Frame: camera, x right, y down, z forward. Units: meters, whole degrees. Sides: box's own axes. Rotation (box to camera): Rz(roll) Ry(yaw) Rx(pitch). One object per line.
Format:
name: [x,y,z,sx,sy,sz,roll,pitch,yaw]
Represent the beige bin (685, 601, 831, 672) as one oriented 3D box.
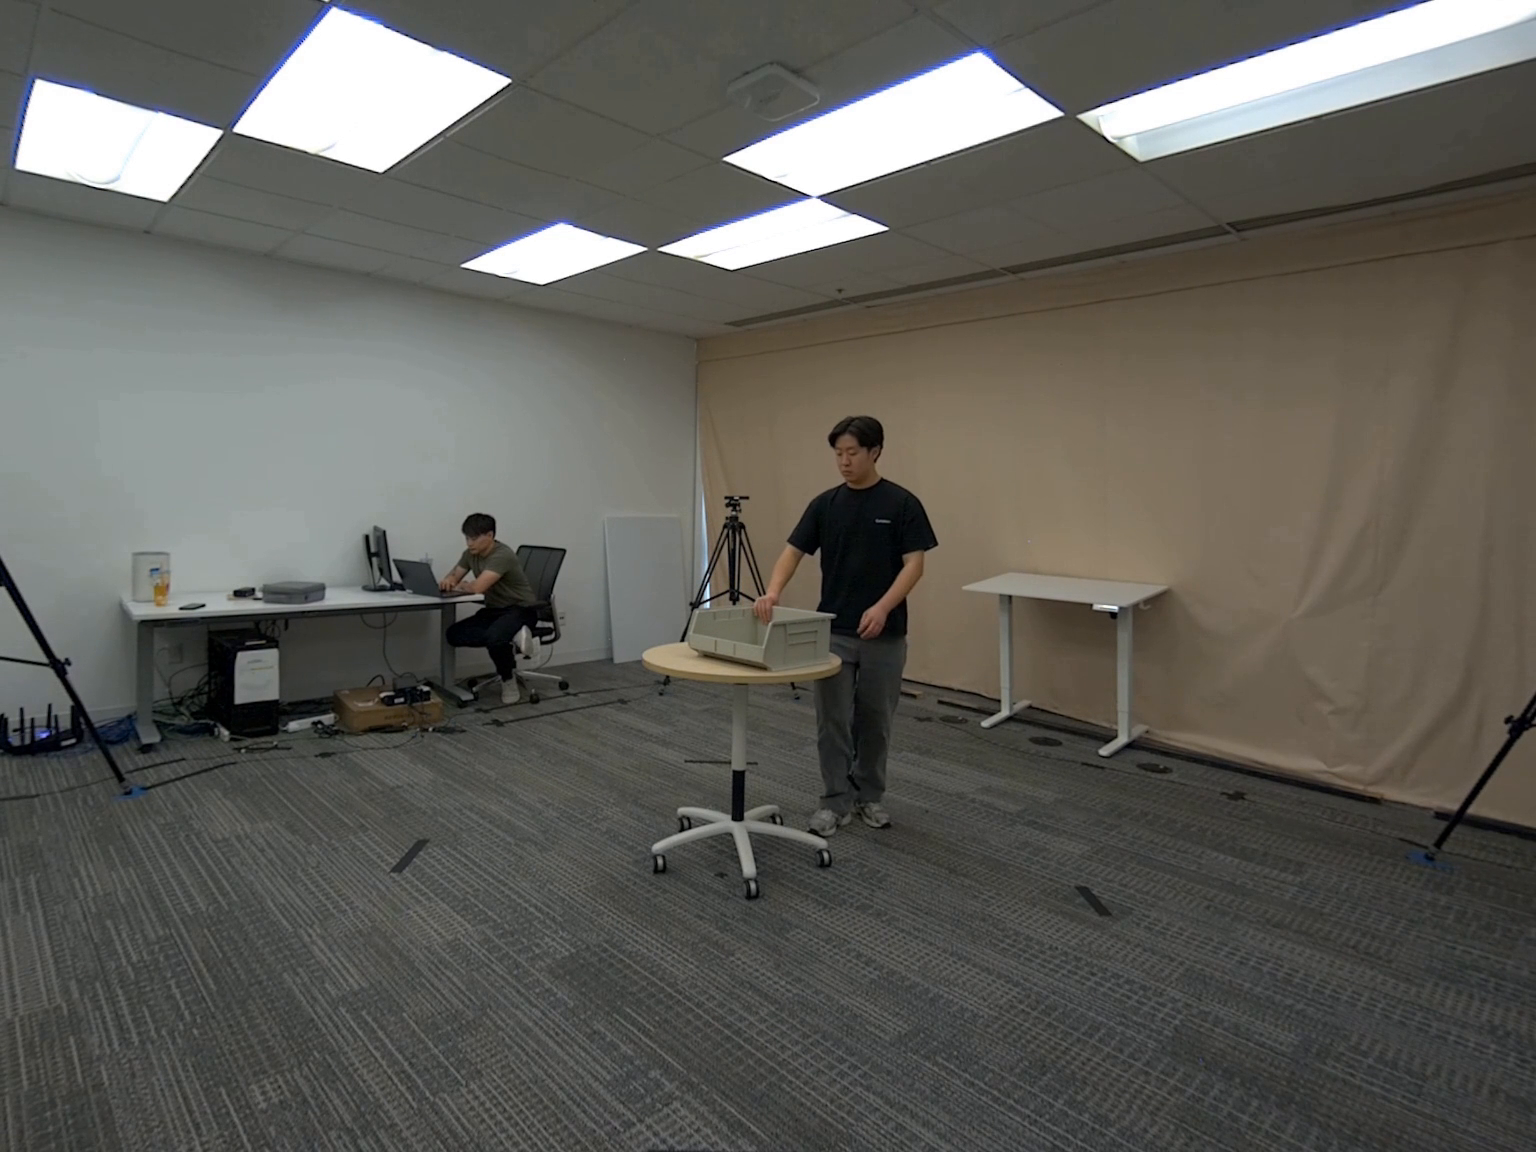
beige bin: [-0.034,0.230,3.180,0.368,0.189,0.433,-1,4,-44]
